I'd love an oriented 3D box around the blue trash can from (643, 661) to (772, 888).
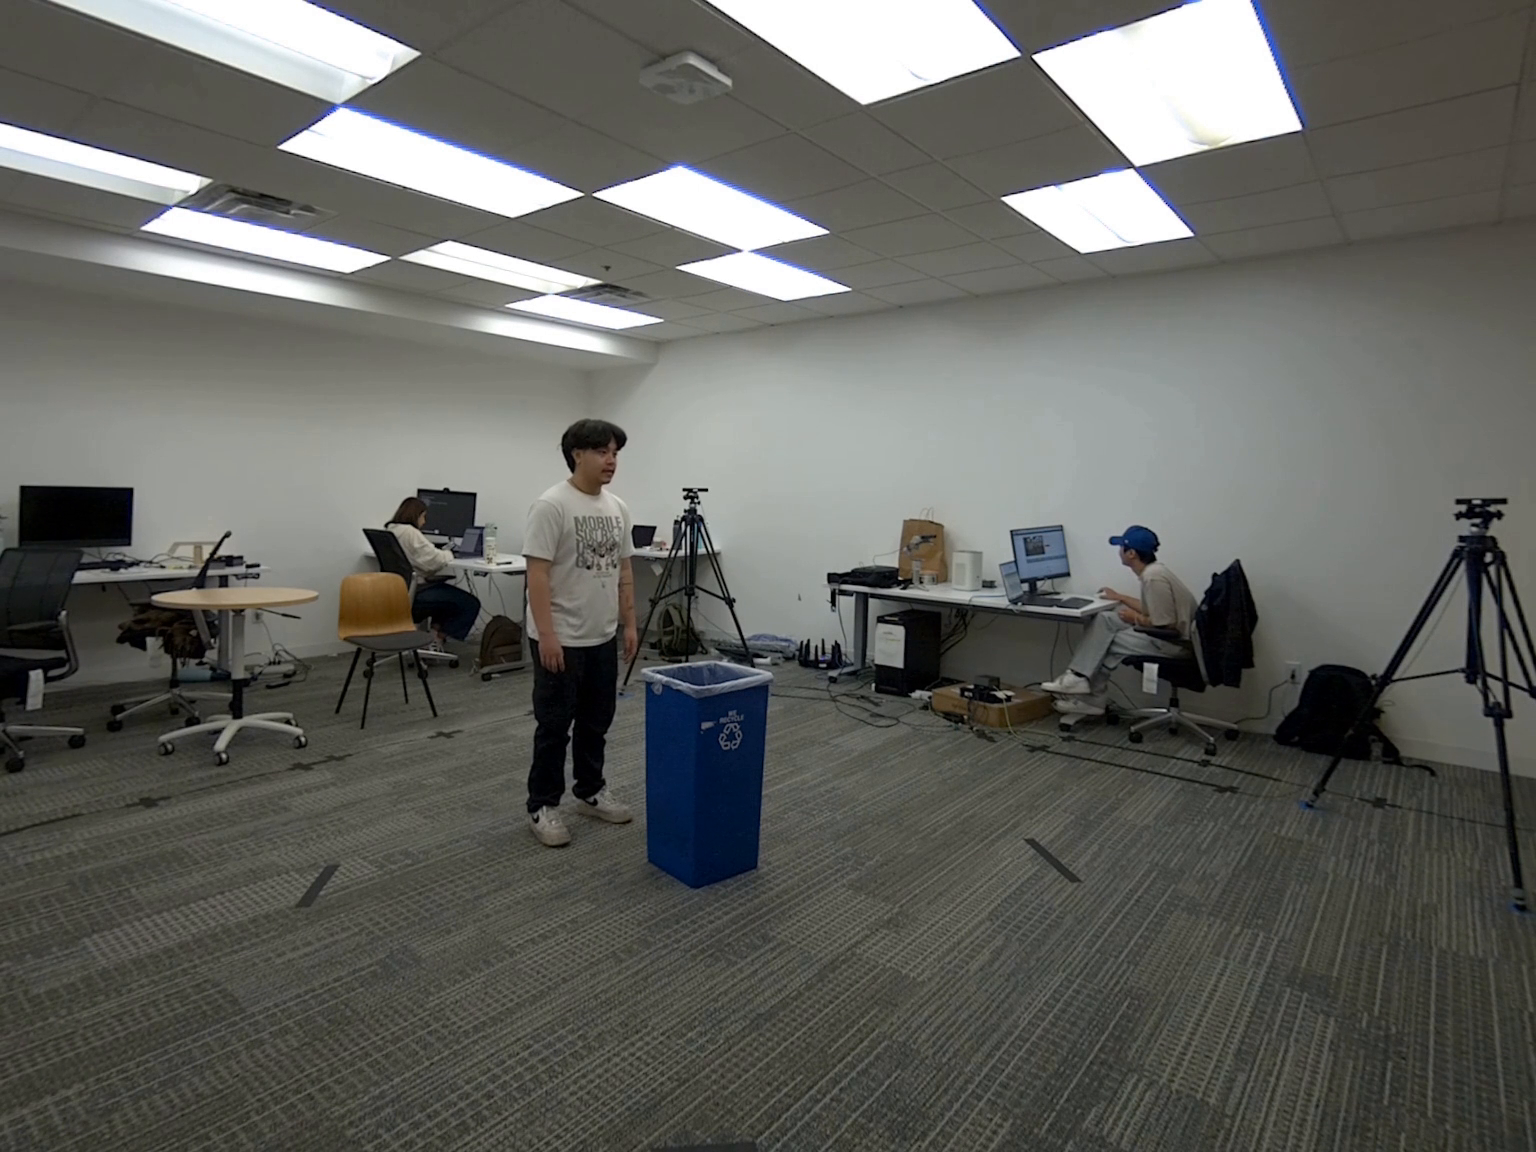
[{"bbox_3d":[-0.241,0.707,3.144,0.363,0.711,0.391,-2,4,-41],"label":"blue trash can"}]
